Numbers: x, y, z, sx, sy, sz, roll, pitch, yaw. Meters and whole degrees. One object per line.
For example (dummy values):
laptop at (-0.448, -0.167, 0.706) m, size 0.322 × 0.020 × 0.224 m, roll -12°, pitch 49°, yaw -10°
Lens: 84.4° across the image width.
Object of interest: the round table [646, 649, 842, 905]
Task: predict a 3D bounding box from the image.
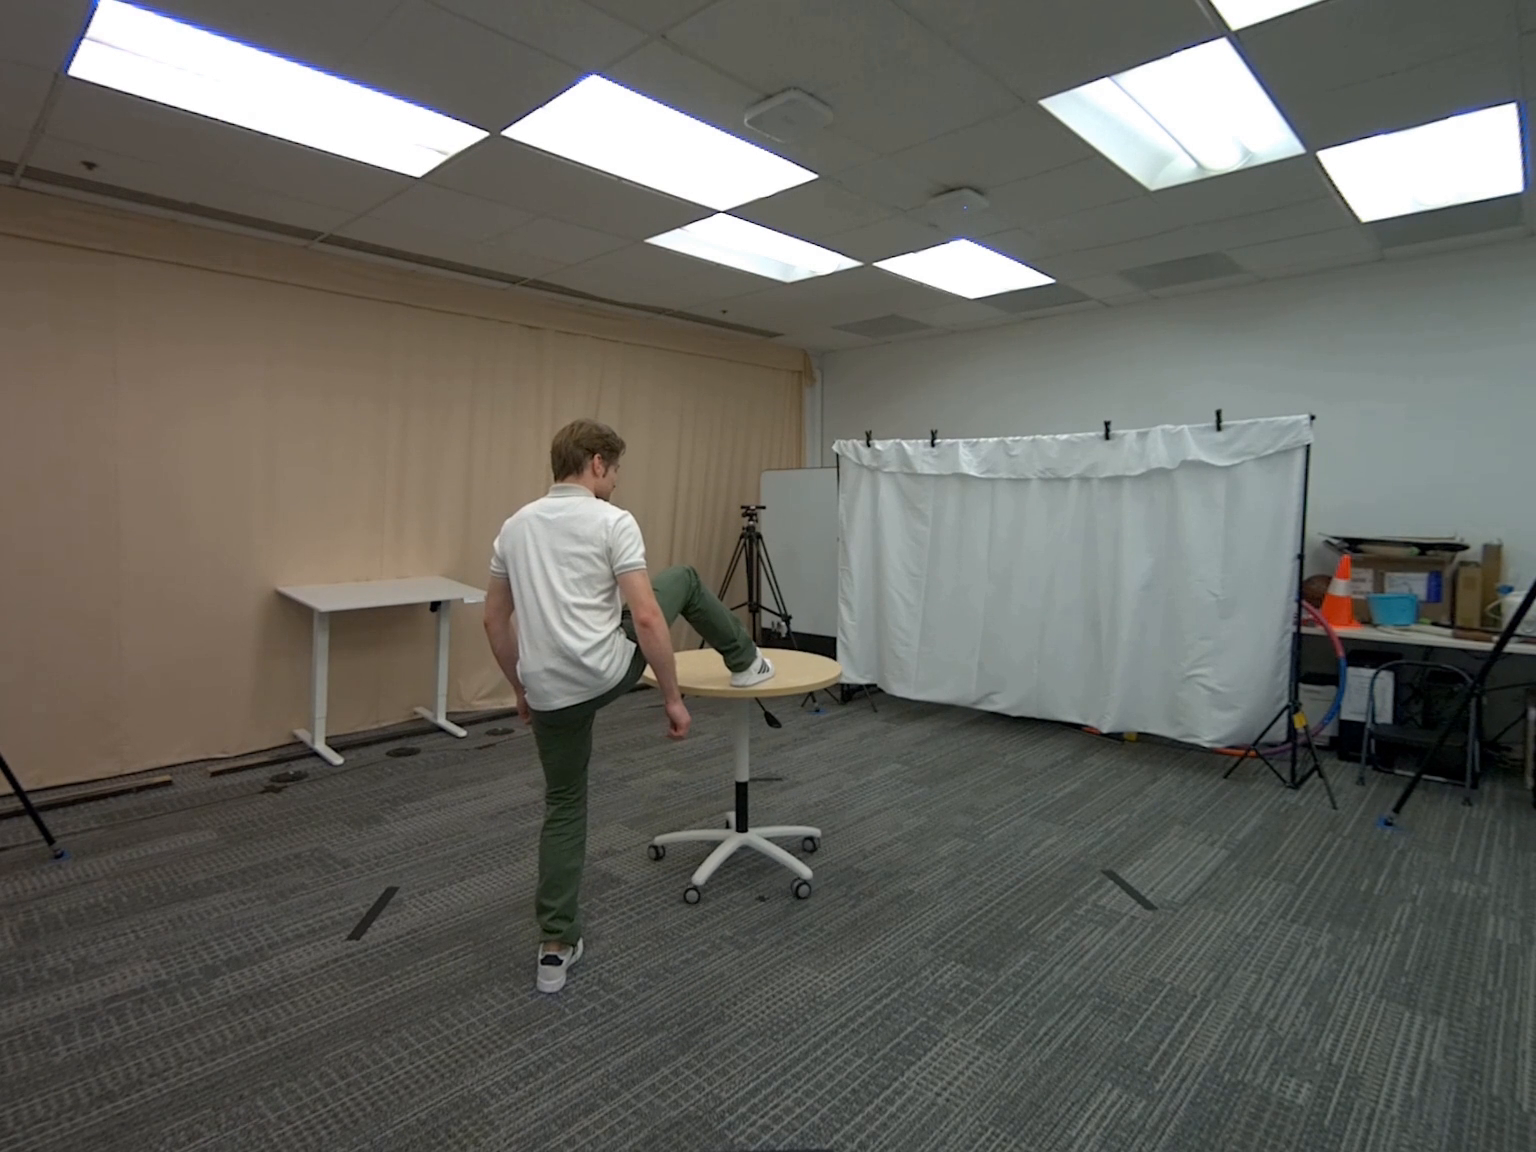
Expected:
round table at (-0.095, 0.737, 3.236) m, size 0.763 × 0.792 × 0.767 m, roll 0°, pitch 4°, yaw -2°
